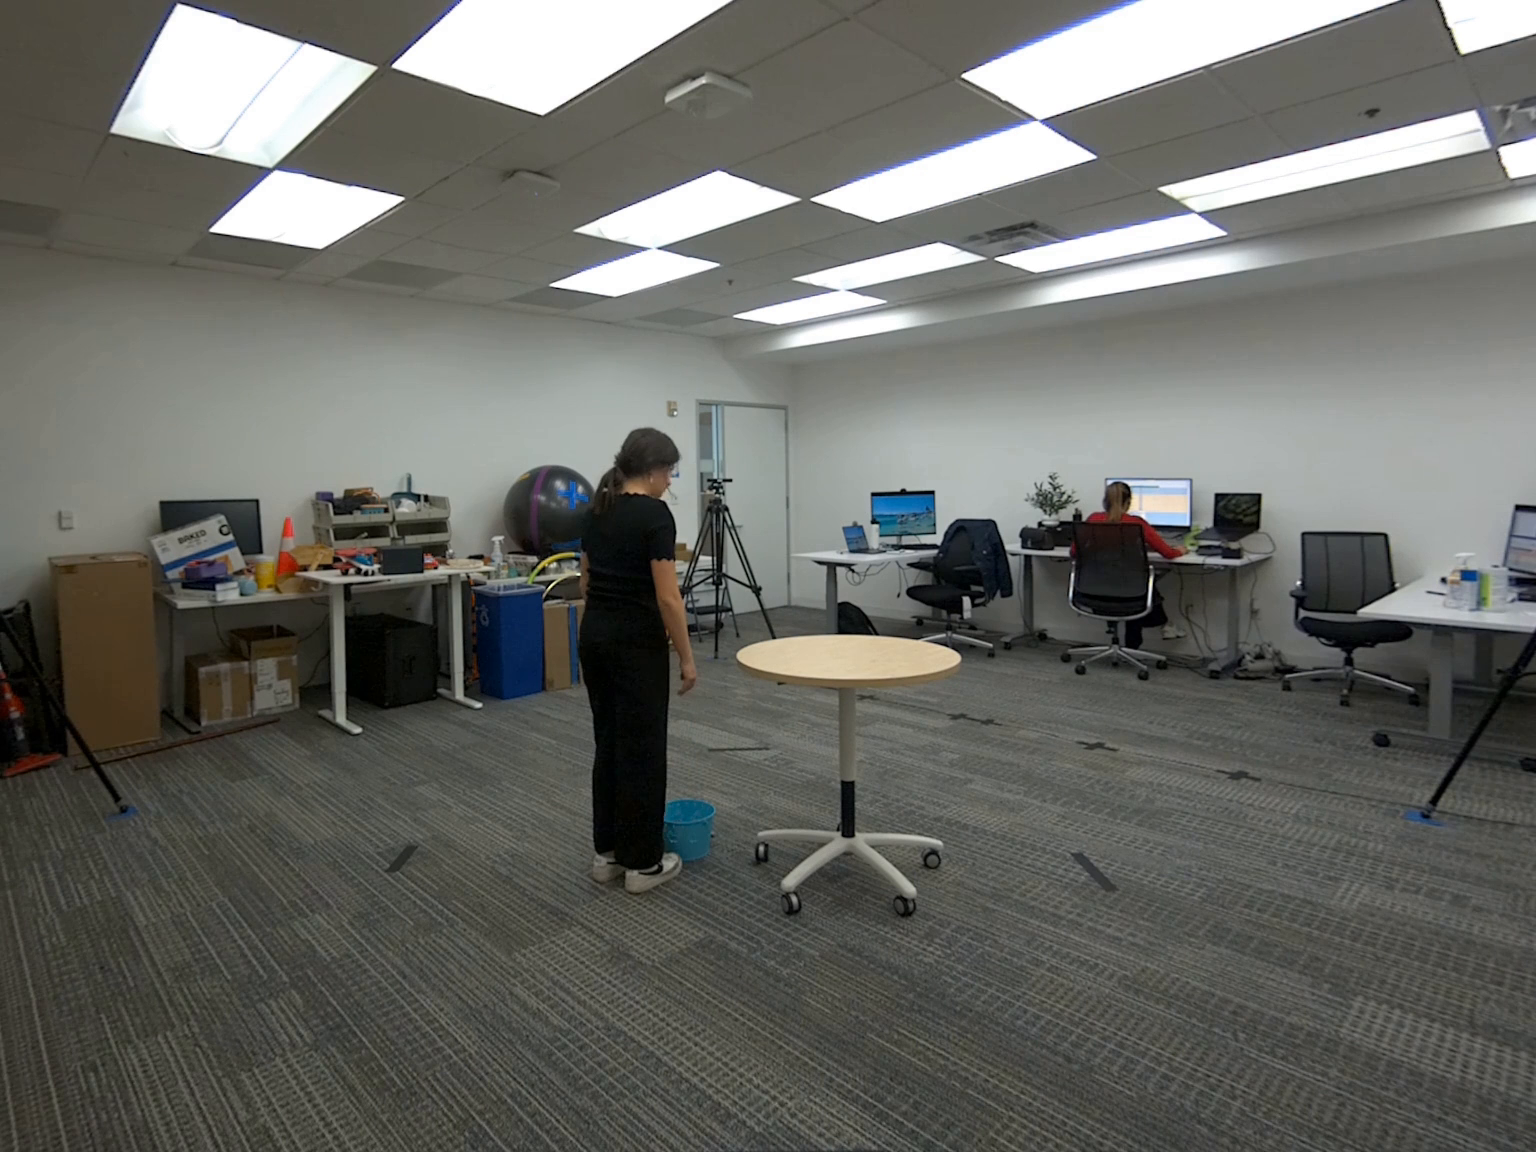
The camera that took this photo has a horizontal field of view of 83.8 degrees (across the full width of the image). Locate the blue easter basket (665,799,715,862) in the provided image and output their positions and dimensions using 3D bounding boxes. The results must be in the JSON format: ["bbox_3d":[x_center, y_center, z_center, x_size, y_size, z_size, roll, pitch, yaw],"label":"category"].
[{"bbox_3d":[-0.306,0.956,3.222,0.243,0.155,0.245,-1,6,-2],"label":"blue easter basket"}]
